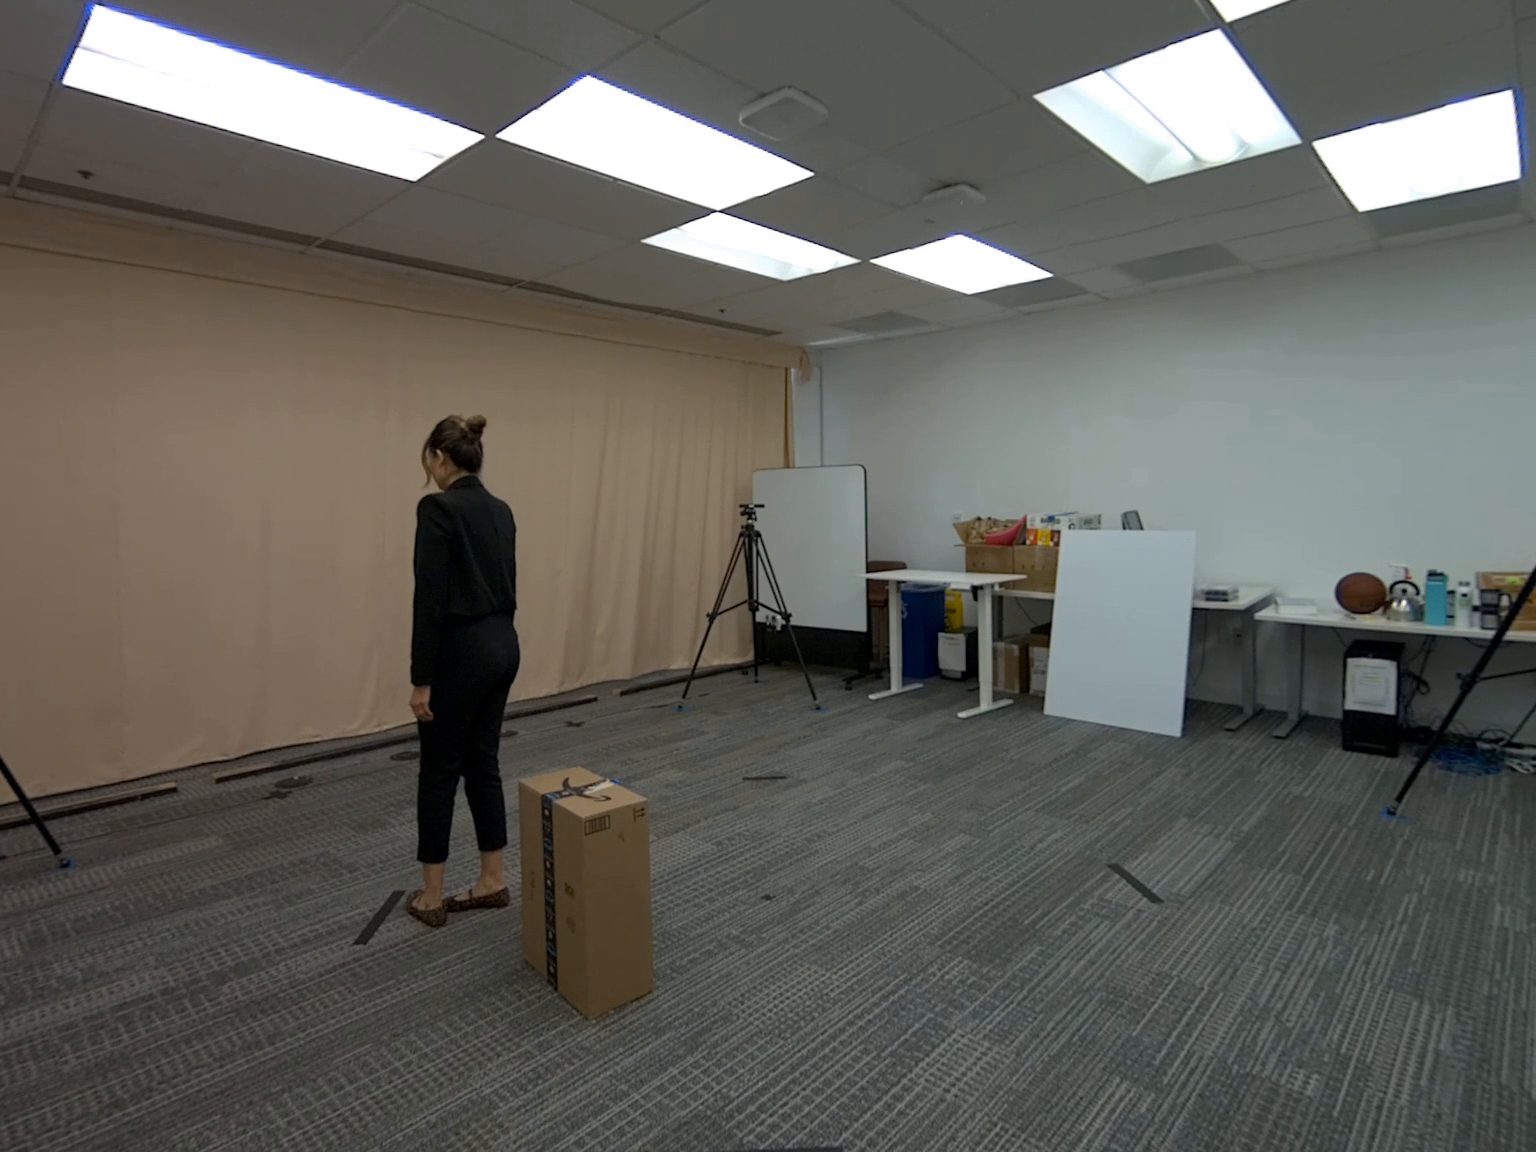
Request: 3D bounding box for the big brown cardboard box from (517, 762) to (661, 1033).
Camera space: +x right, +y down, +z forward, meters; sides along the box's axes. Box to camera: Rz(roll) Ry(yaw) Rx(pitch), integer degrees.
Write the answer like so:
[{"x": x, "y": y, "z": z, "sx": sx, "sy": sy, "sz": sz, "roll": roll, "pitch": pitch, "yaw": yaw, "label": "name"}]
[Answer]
[{"x": -0.538, "y": 0.914, "z": 2.502, "sx": 0.226, "sy": 0.587, "sz": 0.431, "roll": -4, "pitch": 6, "yaw": -39, "label": "big brown cardboard box"}]
